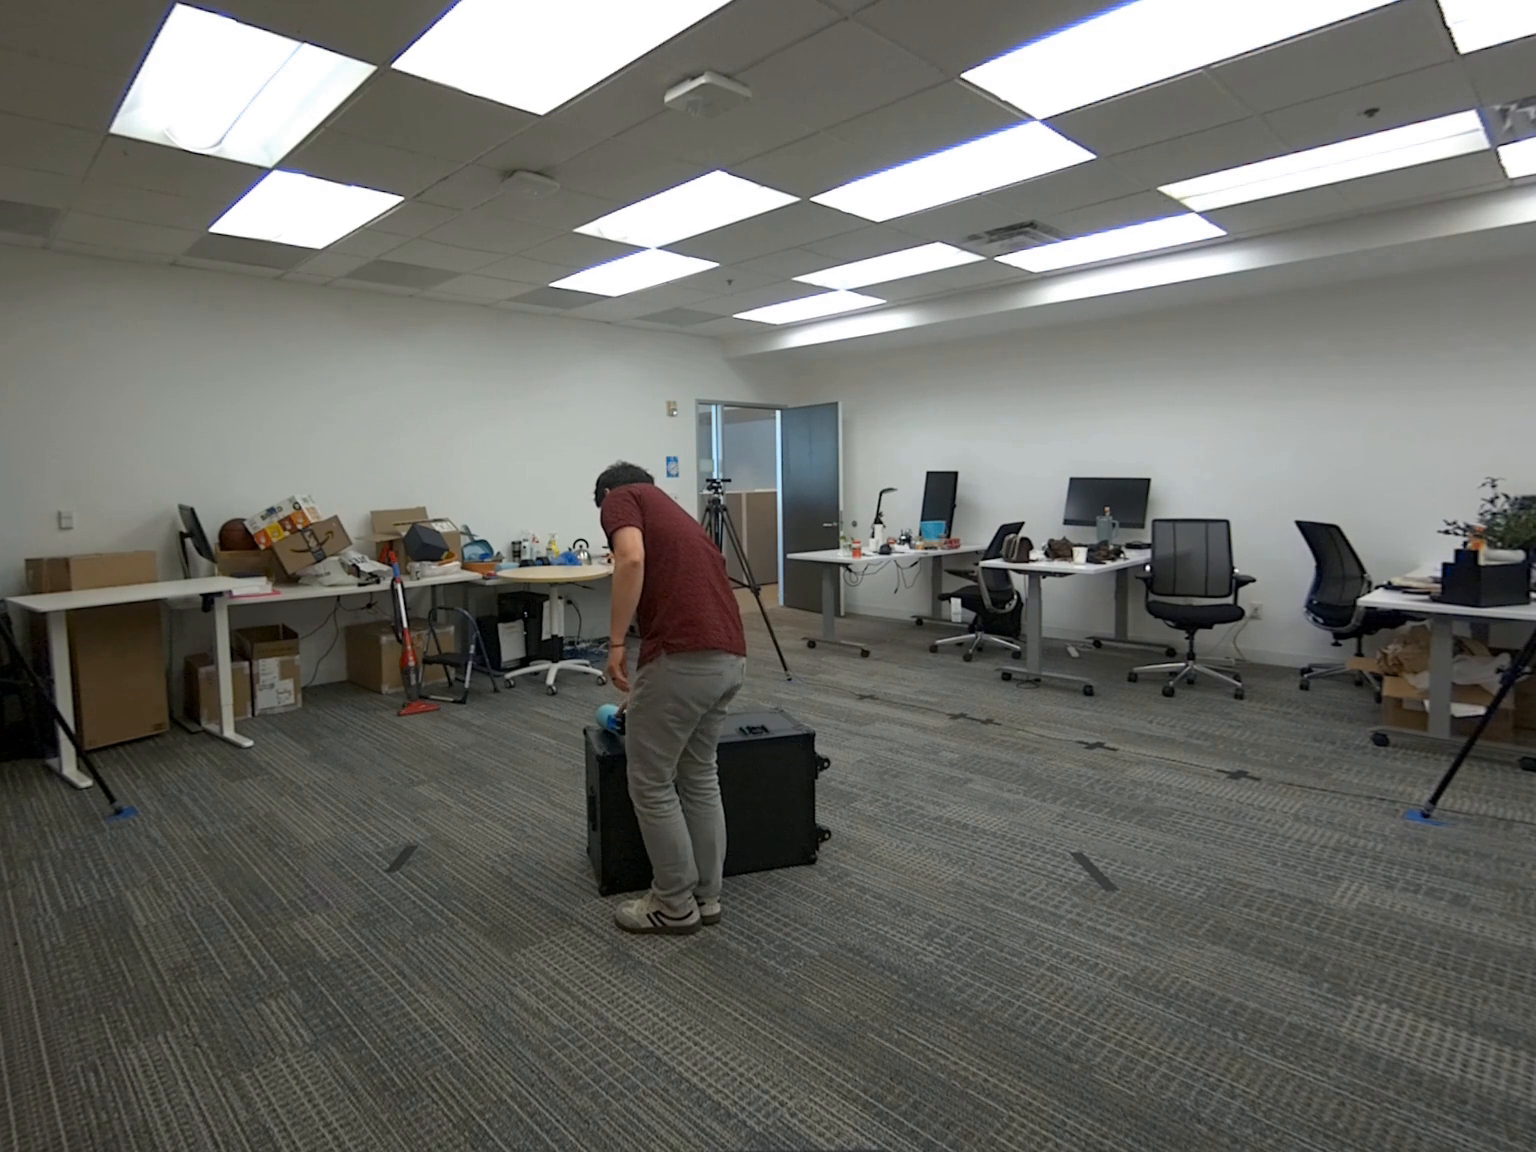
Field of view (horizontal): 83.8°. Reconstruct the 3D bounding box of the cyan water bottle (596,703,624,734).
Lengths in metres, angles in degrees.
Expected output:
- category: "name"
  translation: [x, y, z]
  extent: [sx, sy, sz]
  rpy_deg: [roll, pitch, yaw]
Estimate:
- category: "cyan water bottle"
  translation: [-0.543, 0.516, 3.052]
  extent: [0.090, 0.092, 0.288]
  rpy_deg: [-3, 0, -23]
